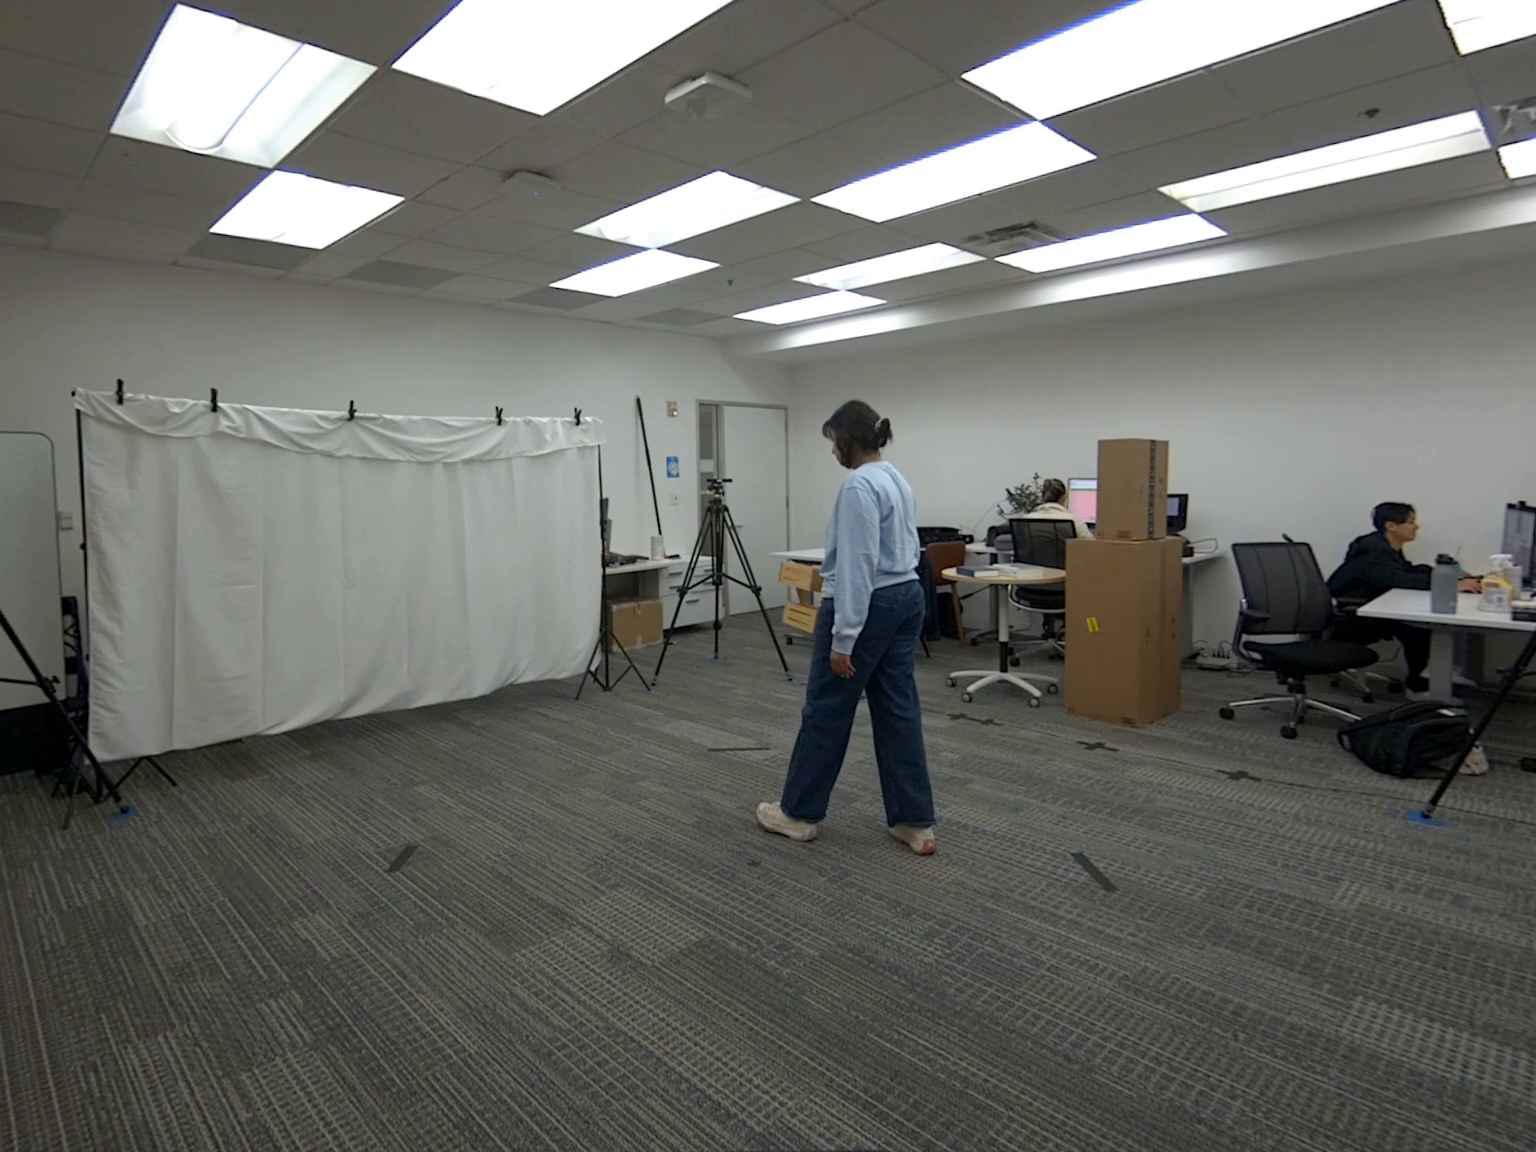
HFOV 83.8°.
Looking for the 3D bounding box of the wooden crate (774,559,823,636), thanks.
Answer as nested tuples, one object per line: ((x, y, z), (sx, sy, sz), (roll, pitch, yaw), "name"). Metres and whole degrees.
((0.252, 0.101, 3.596), (0.295, 0.273, 0.332), (10, 1, -22), "wooden crate")
